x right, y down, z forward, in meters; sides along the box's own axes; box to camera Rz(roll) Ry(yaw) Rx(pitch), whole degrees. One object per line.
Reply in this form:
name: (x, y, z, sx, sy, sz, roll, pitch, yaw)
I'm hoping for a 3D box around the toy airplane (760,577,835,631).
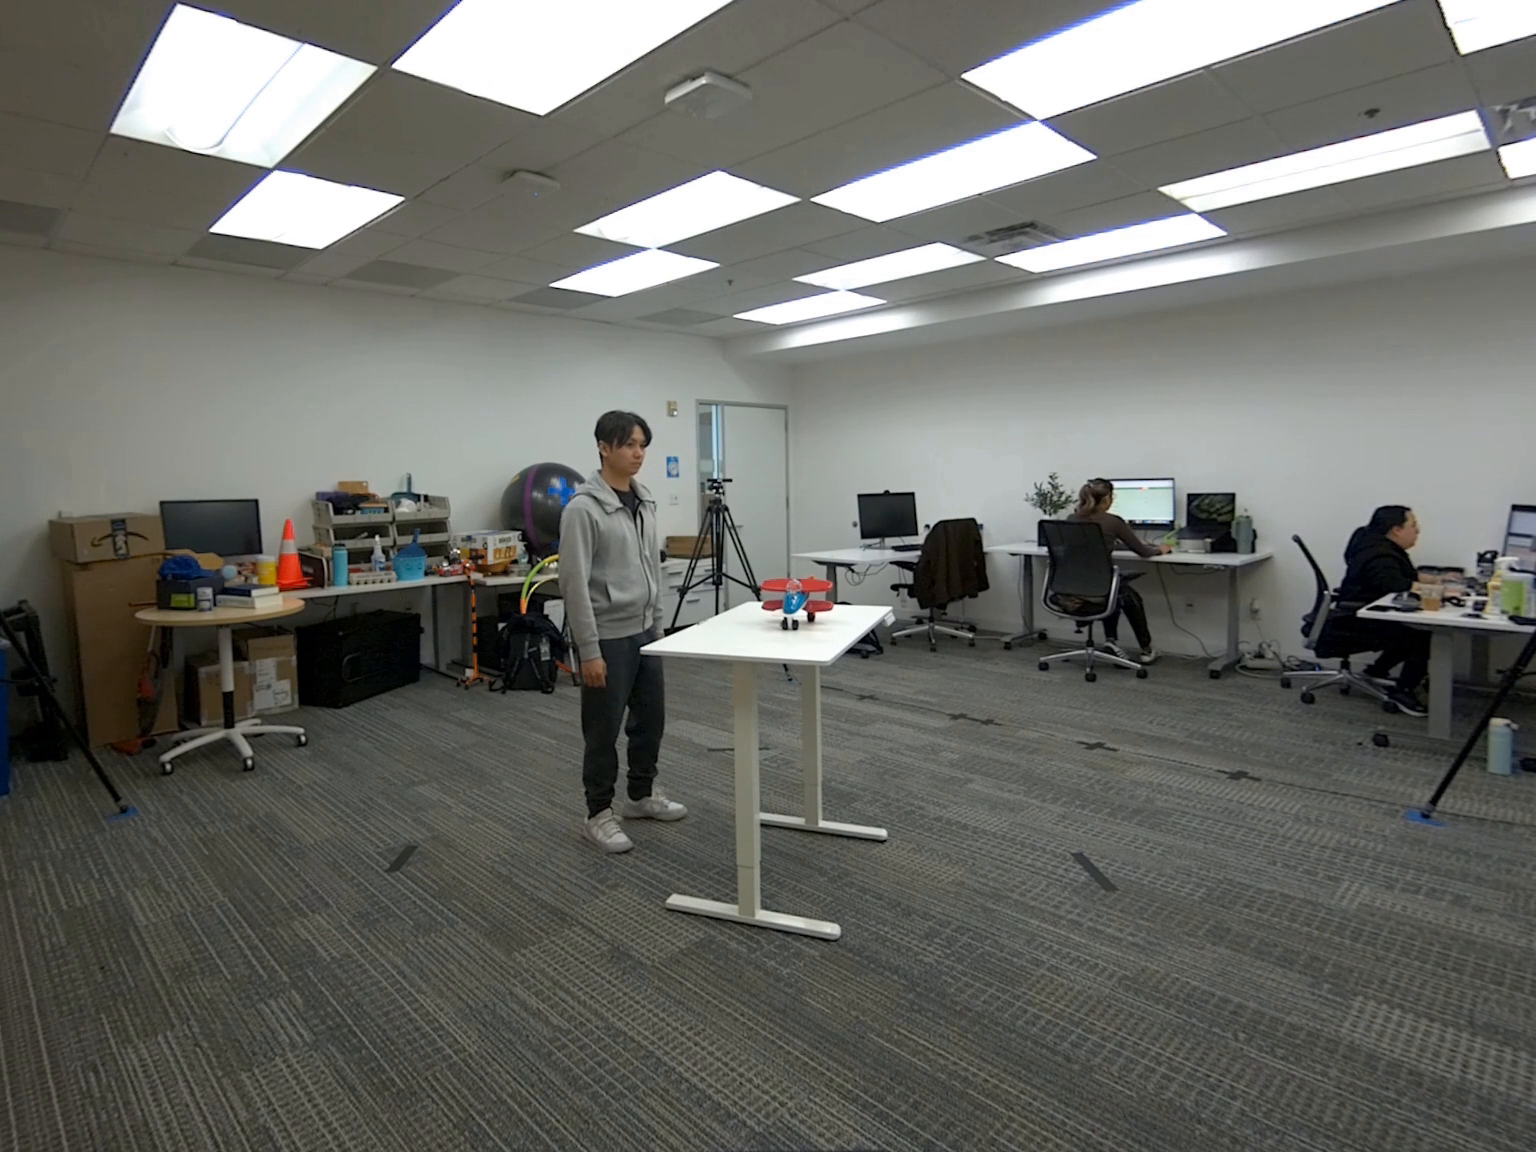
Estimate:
toy airplane: (0.116, 0.097, 2.990, 0.248, 0.156, 0.264, -4, 6, -14)
